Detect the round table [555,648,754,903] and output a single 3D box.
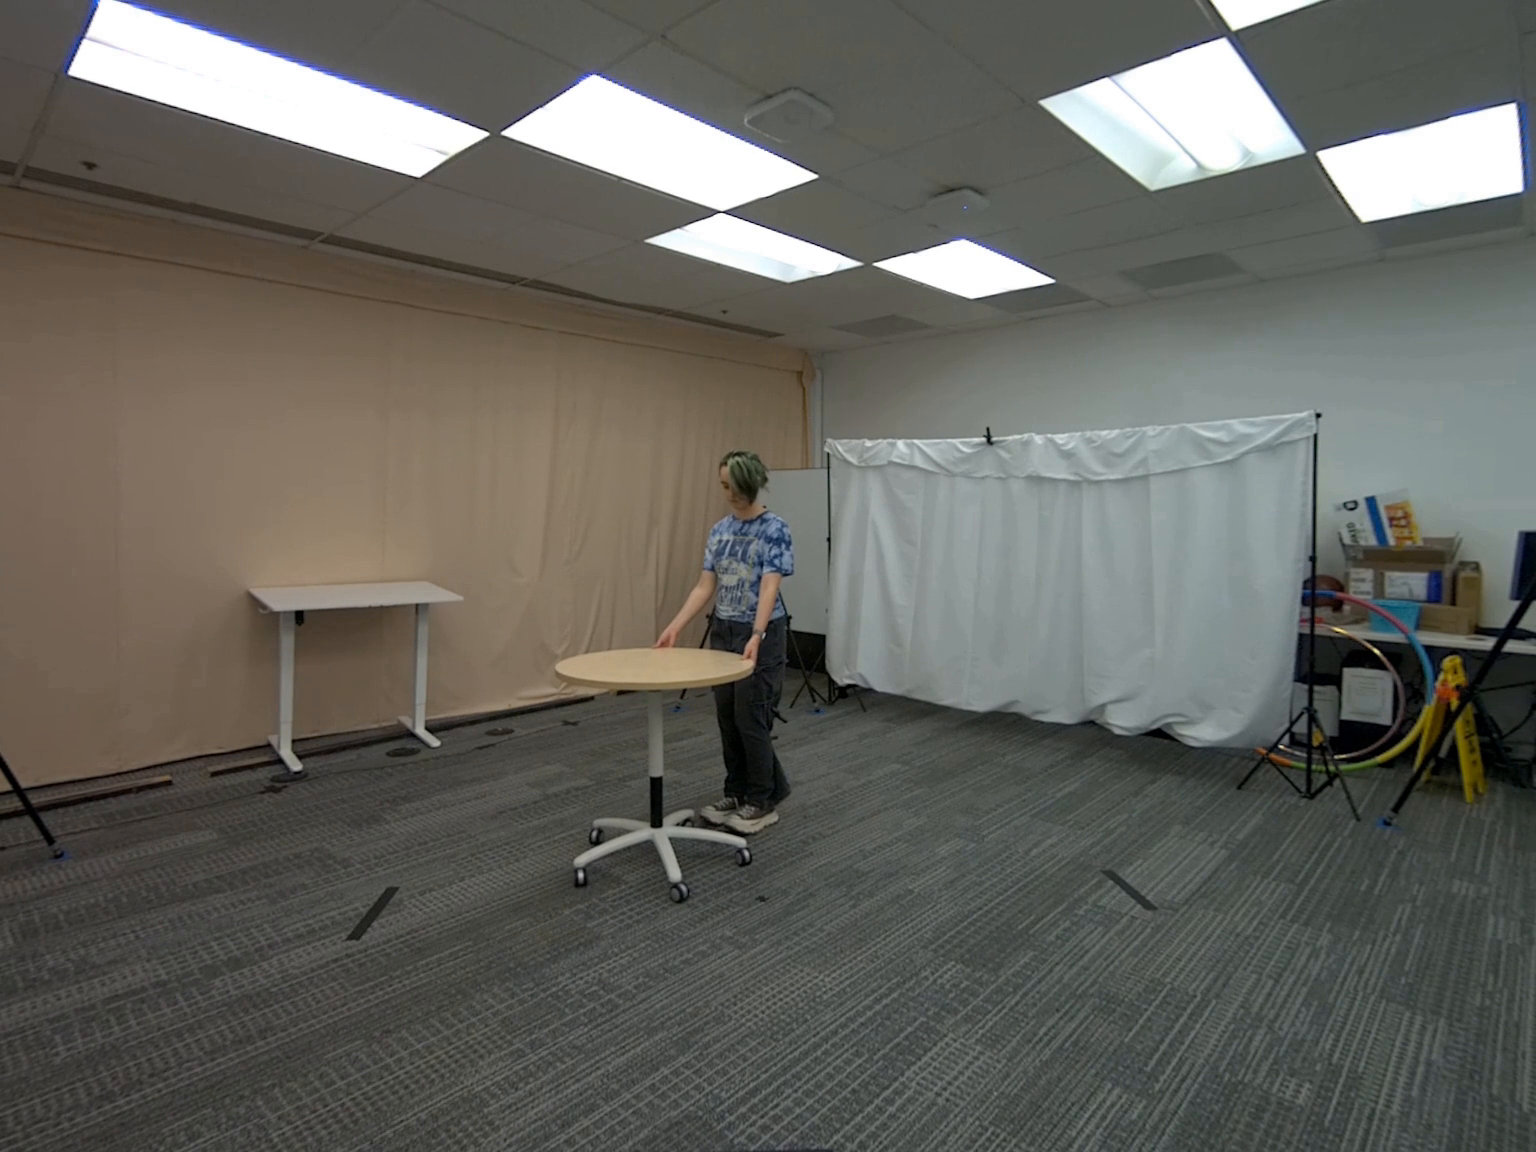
[{"bbox_3d":[-0.435,0.735,3.277,0.763,0.792,0.766,-1,3,-2],"label":"round table"}]
